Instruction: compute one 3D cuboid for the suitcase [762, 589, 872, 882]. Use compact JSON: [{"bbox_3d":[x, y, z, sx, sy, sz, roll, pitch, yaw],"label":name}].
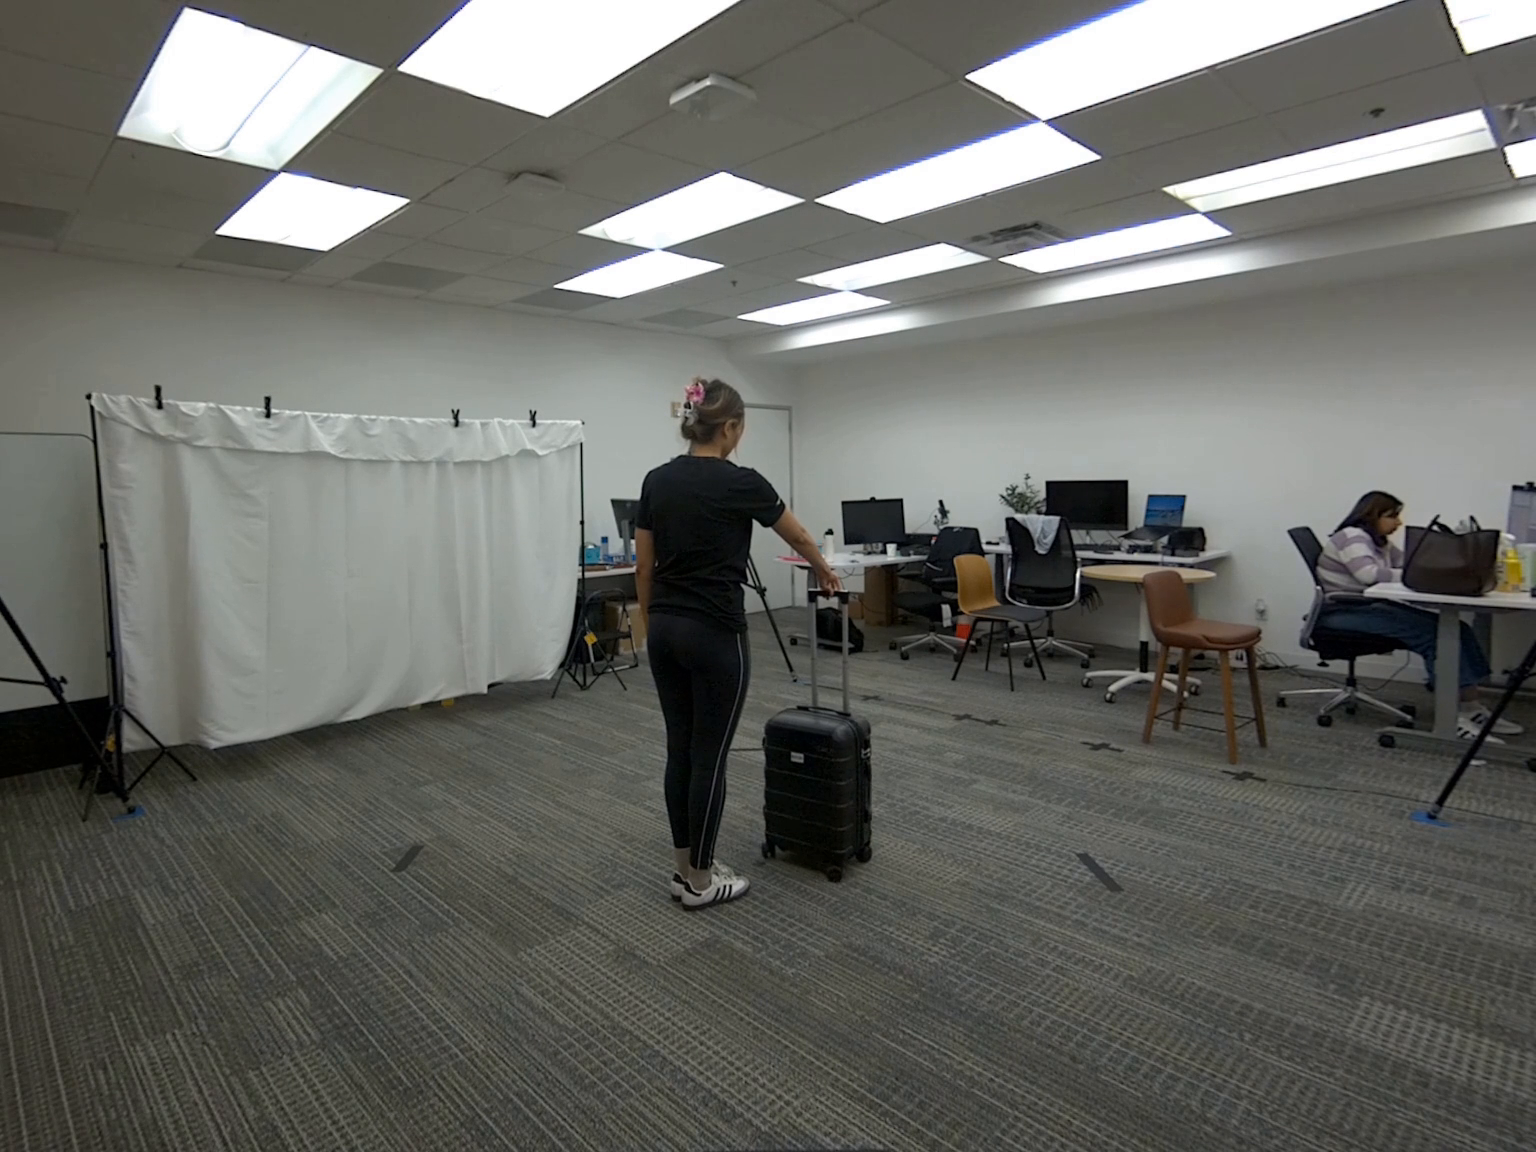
[{"bbox_3d":[0.184,0.564,3.110,0.395,0.974,0.251,2,6,33],"label":"suitcase"}]
